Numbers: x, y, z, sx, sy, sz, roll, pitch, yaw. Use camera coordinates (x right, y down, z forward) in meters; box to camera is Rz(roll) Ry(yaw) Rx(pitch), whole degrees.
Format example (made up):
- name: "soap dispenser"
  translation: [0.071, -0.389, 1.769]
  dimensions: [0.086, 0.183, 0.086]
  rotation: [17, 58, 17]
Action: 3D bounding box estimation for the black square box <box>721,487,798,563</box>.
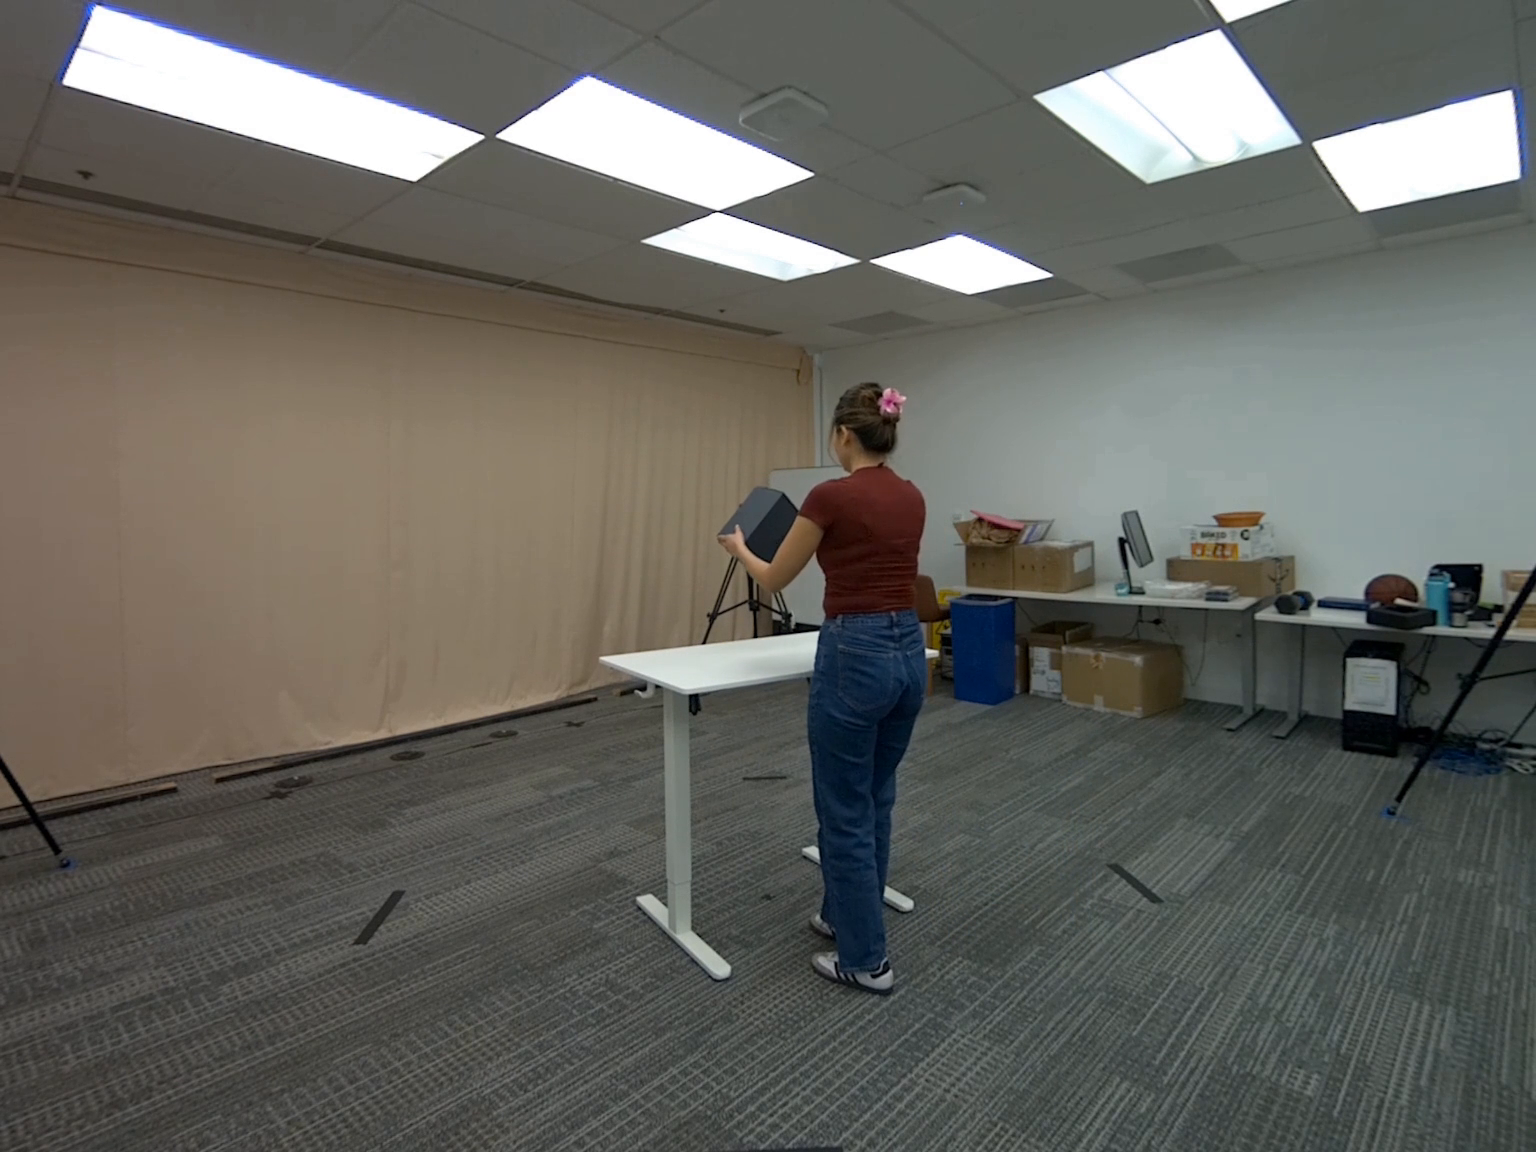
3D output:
- name: "black square box"
  translation: [-0.002, -0.130, 2.831]
  dimensions: [0.210, 0.227, 0.161]
  rotation: [47, -16, -33]
